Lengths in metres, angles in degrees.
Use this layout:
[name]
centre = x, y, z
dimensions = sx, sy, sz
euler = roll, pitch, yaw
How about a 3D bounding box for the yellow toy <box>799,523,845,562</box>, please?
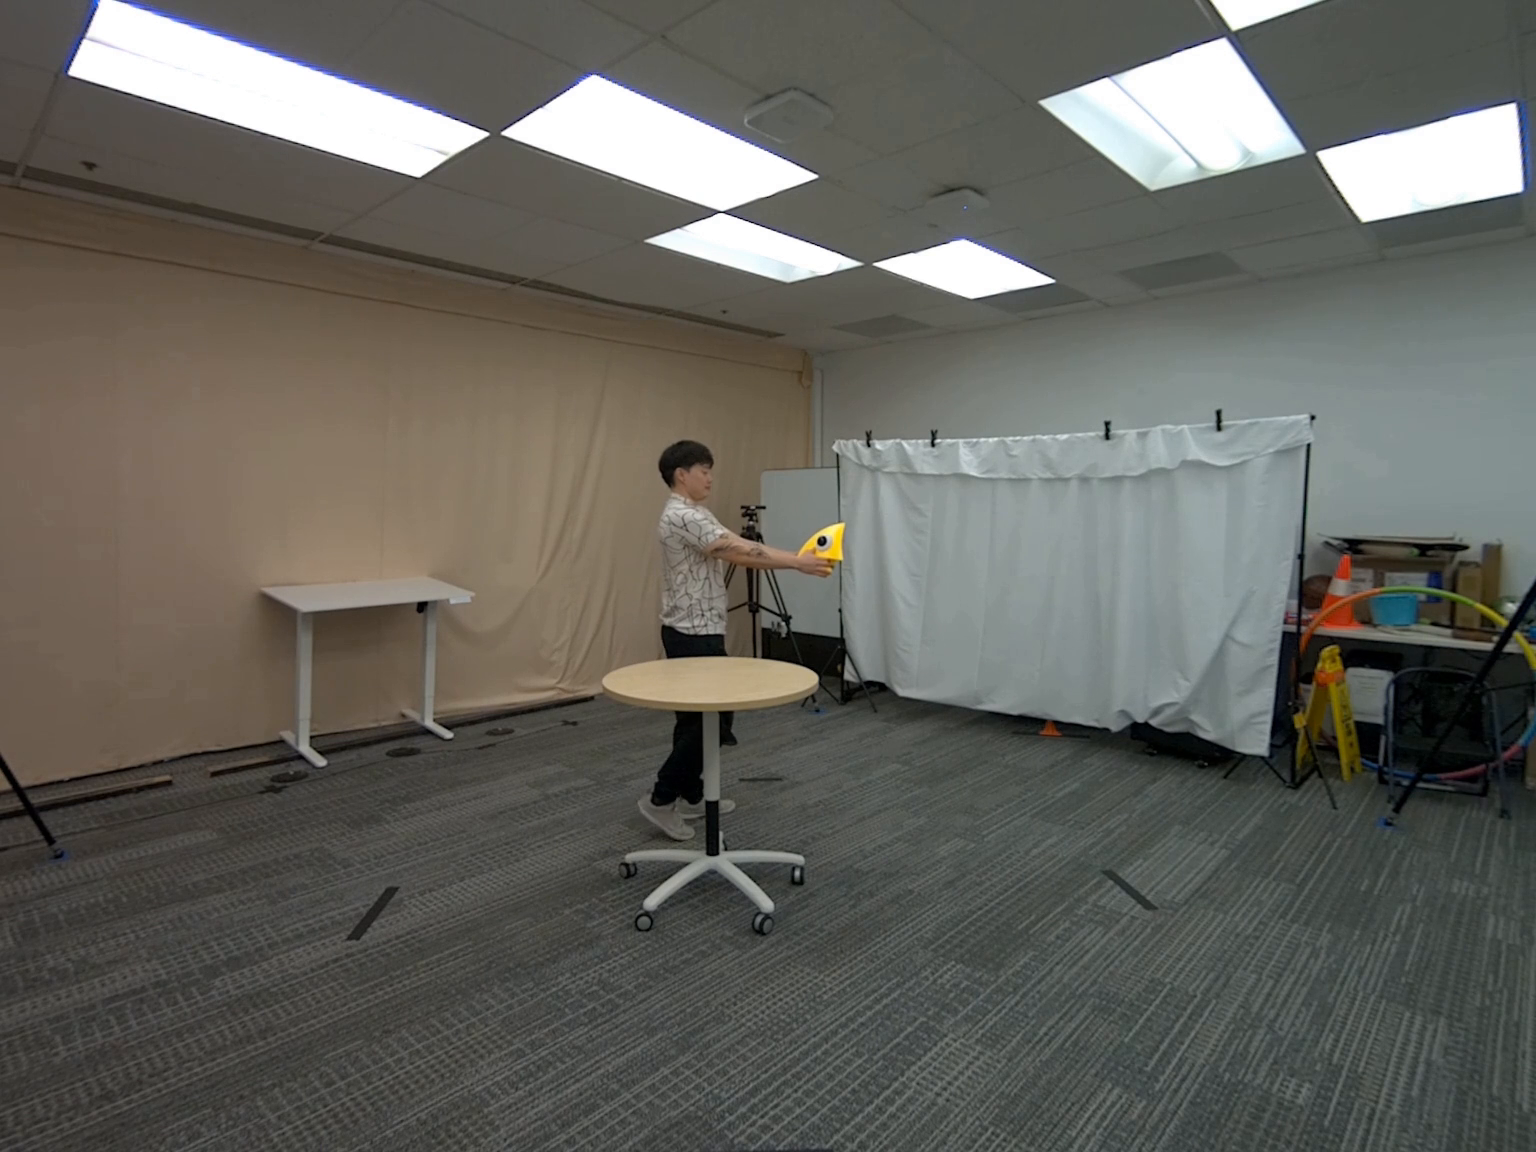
[yellow toy]
centre = 0.245, -0.134, 3.644
dimensions = 0.194, 0.230, 0.204
euler = 18, 5, 2
